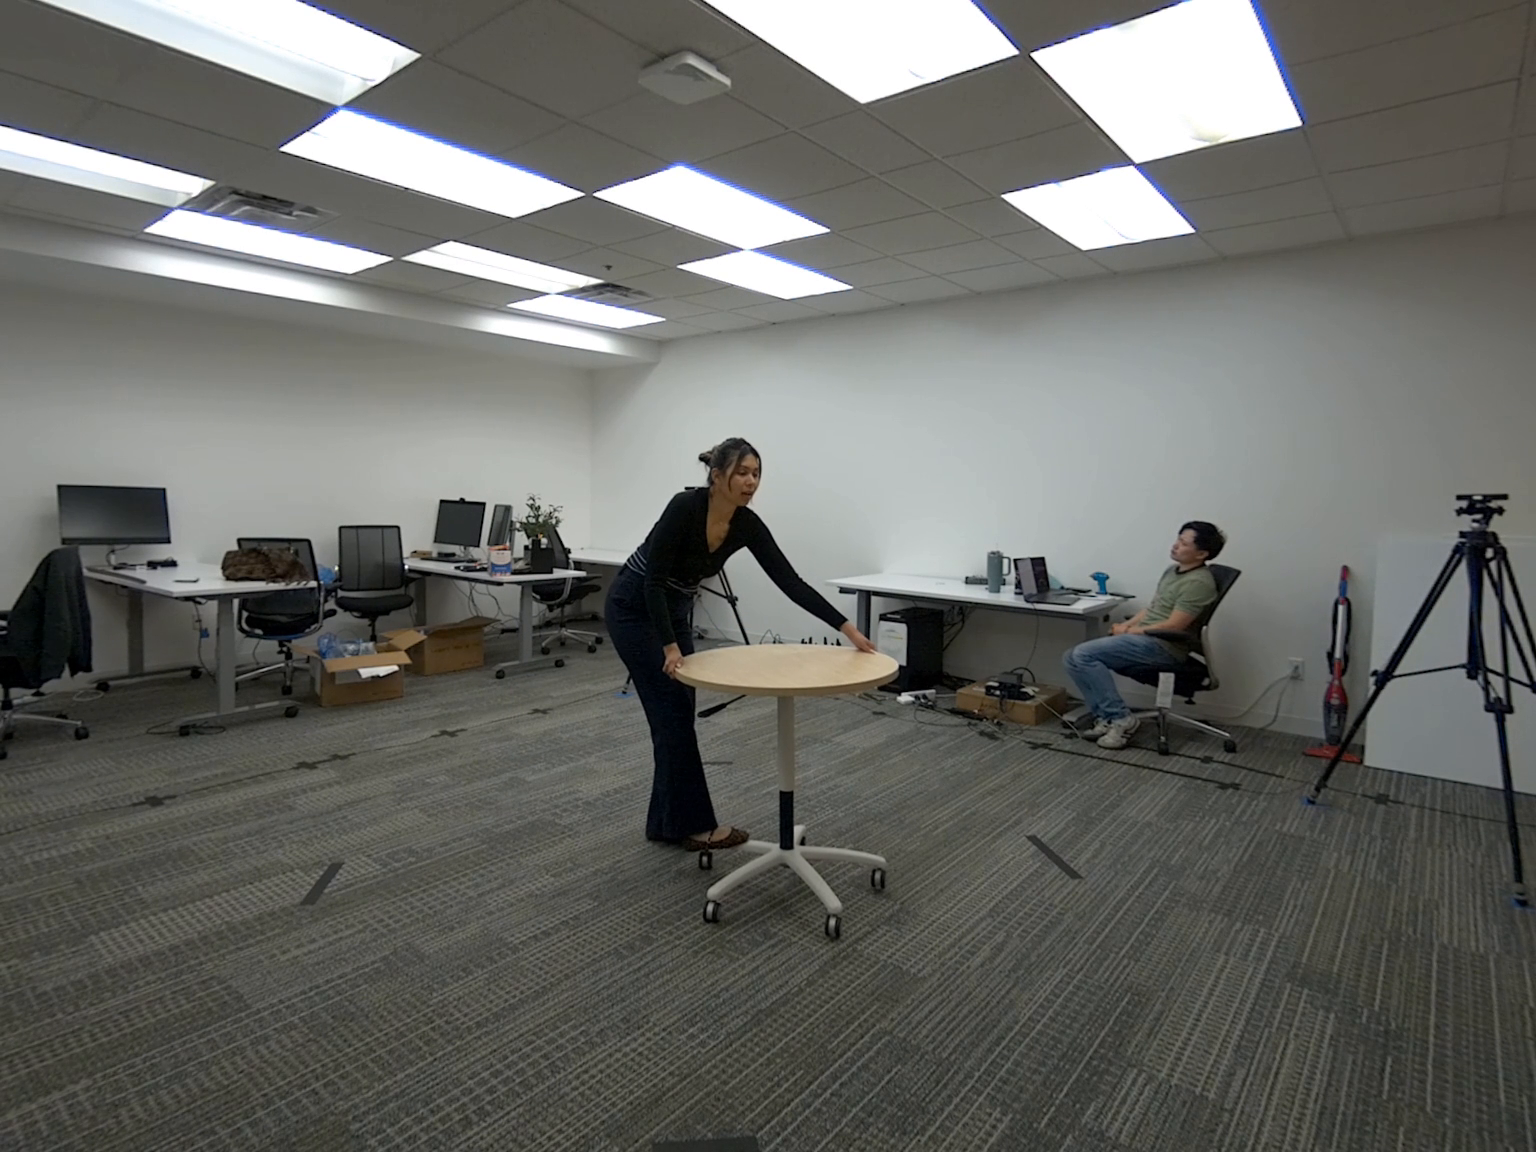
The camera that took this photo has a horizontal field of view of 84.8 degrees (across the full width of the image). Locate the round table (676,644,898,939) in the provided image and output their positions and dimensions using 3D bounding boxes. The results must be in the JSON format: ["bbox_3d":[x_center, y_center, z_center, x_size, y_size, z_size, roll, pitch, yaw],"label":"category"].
[{"bbox_3d":[0.048,0.690,2.939,0.763,0.791,0.767,-1,4,-2],"label":"round table"}]
